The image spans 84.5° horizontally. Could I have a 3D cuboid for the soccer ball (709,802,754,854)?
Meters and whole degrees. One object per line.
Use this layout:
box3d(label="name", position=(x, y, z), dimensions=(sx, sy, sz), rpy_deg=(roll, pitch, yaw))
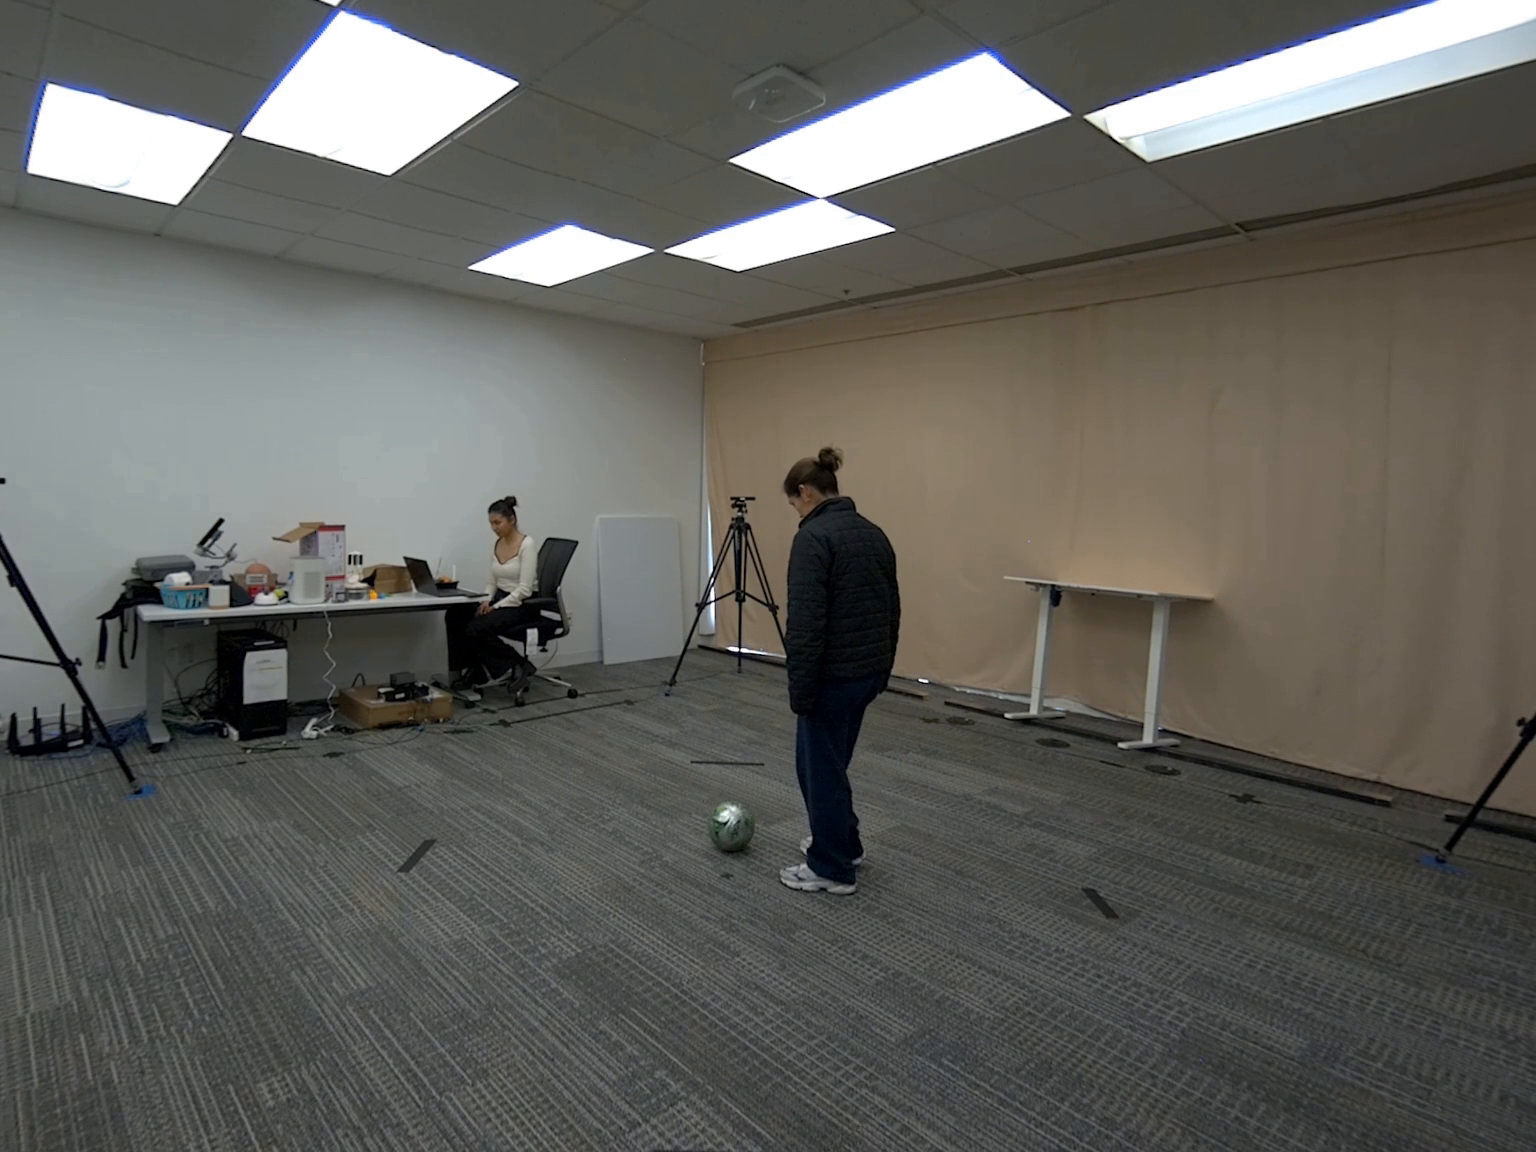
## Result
box3d(label="soccer ball", position=(-0.154, 0.991, 3.337), dimensions=(0.187, 0.187, 0.188), rpy_deg=(1, 4, -1))
